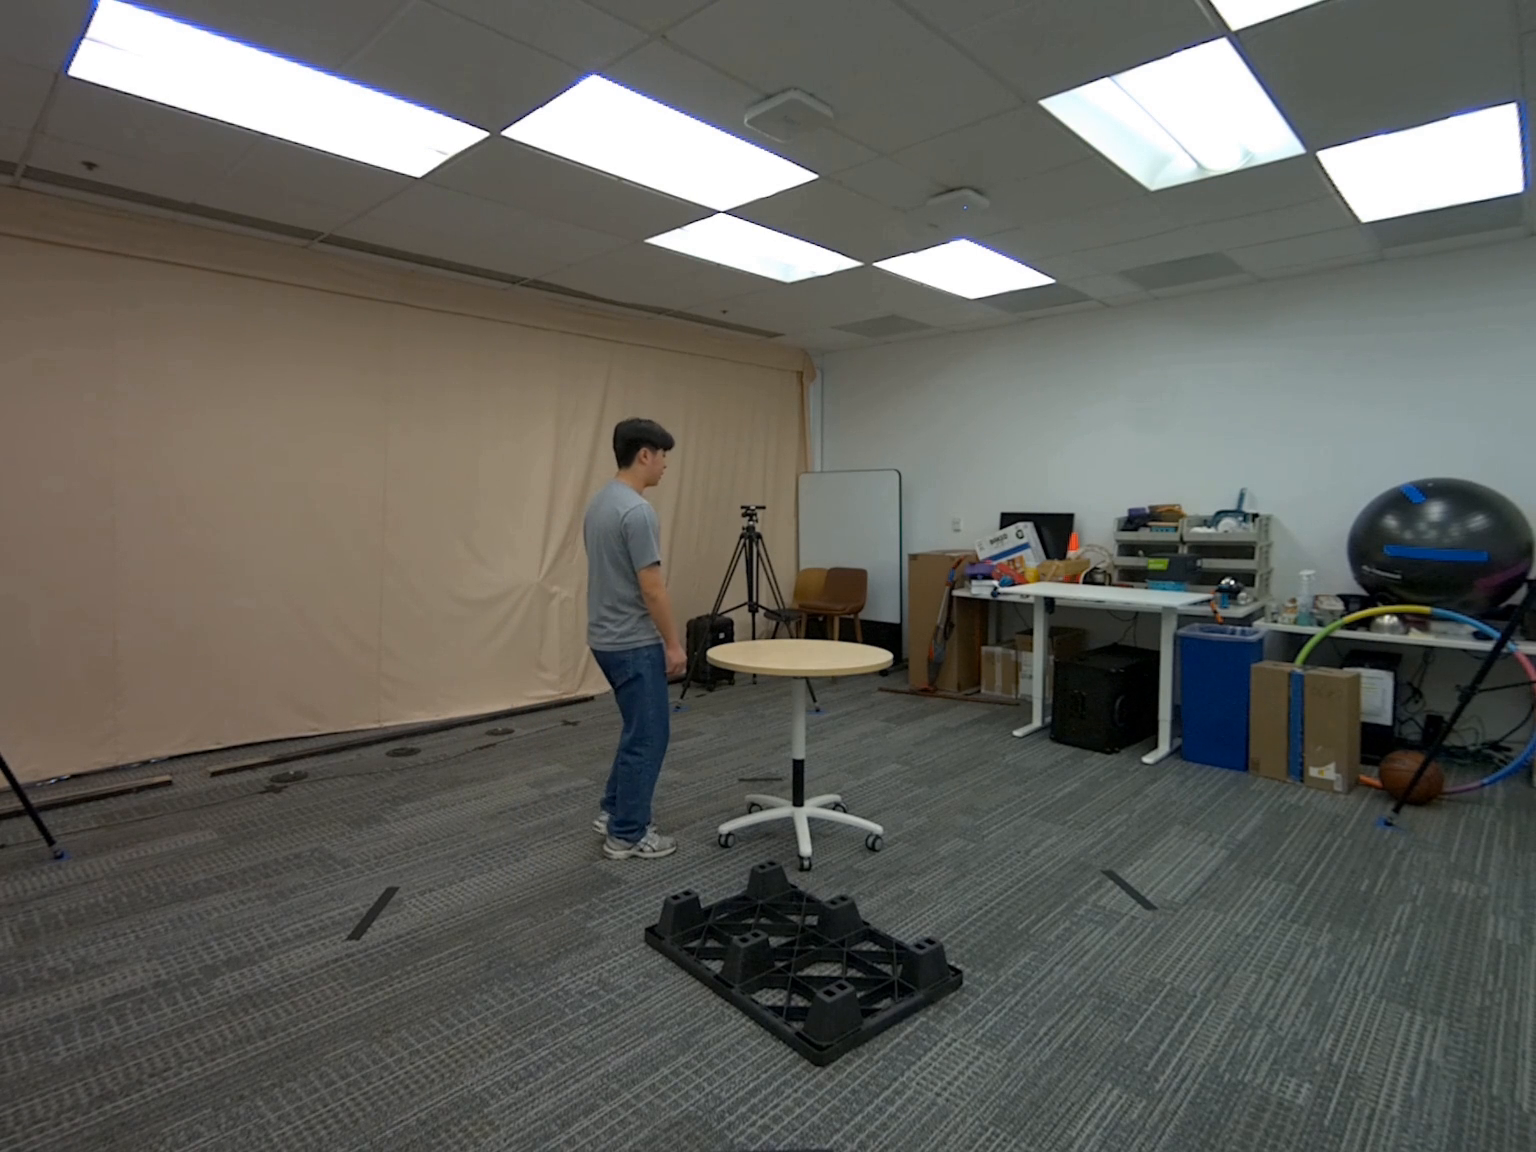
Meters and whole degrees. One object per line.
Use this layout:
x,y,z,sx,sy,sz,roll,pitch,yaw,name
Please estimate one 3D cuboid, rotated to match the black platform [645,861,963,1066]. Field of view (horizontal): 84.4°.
0.096,1.114,2.567,0.587,0.143,0.832,-5,7,-40,black platform
